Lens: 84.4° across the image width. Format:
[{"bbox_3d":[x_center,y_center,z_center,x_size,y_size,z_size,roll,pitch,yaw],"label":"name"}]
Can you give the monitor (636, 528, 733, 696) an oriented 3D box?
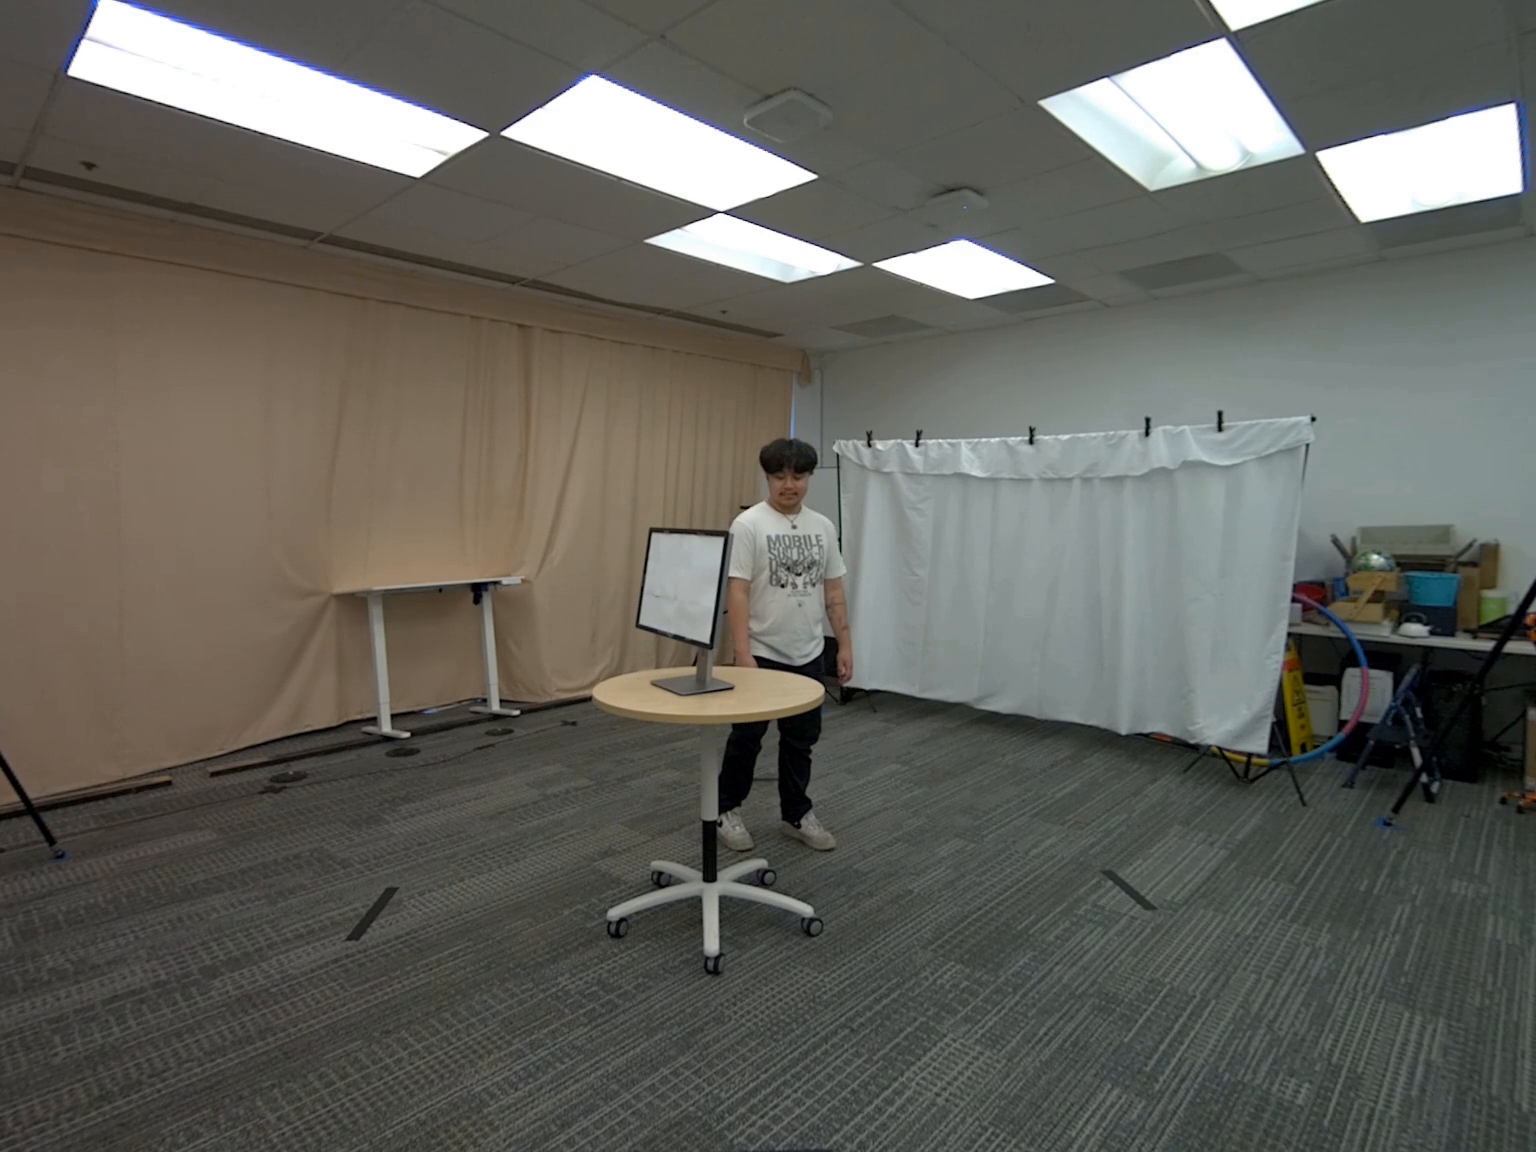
[{"bbox_3d":[-0.234,0.115,2.810,0.204,0.554,0.582,3,1,-33],"label":"monitor"}]
